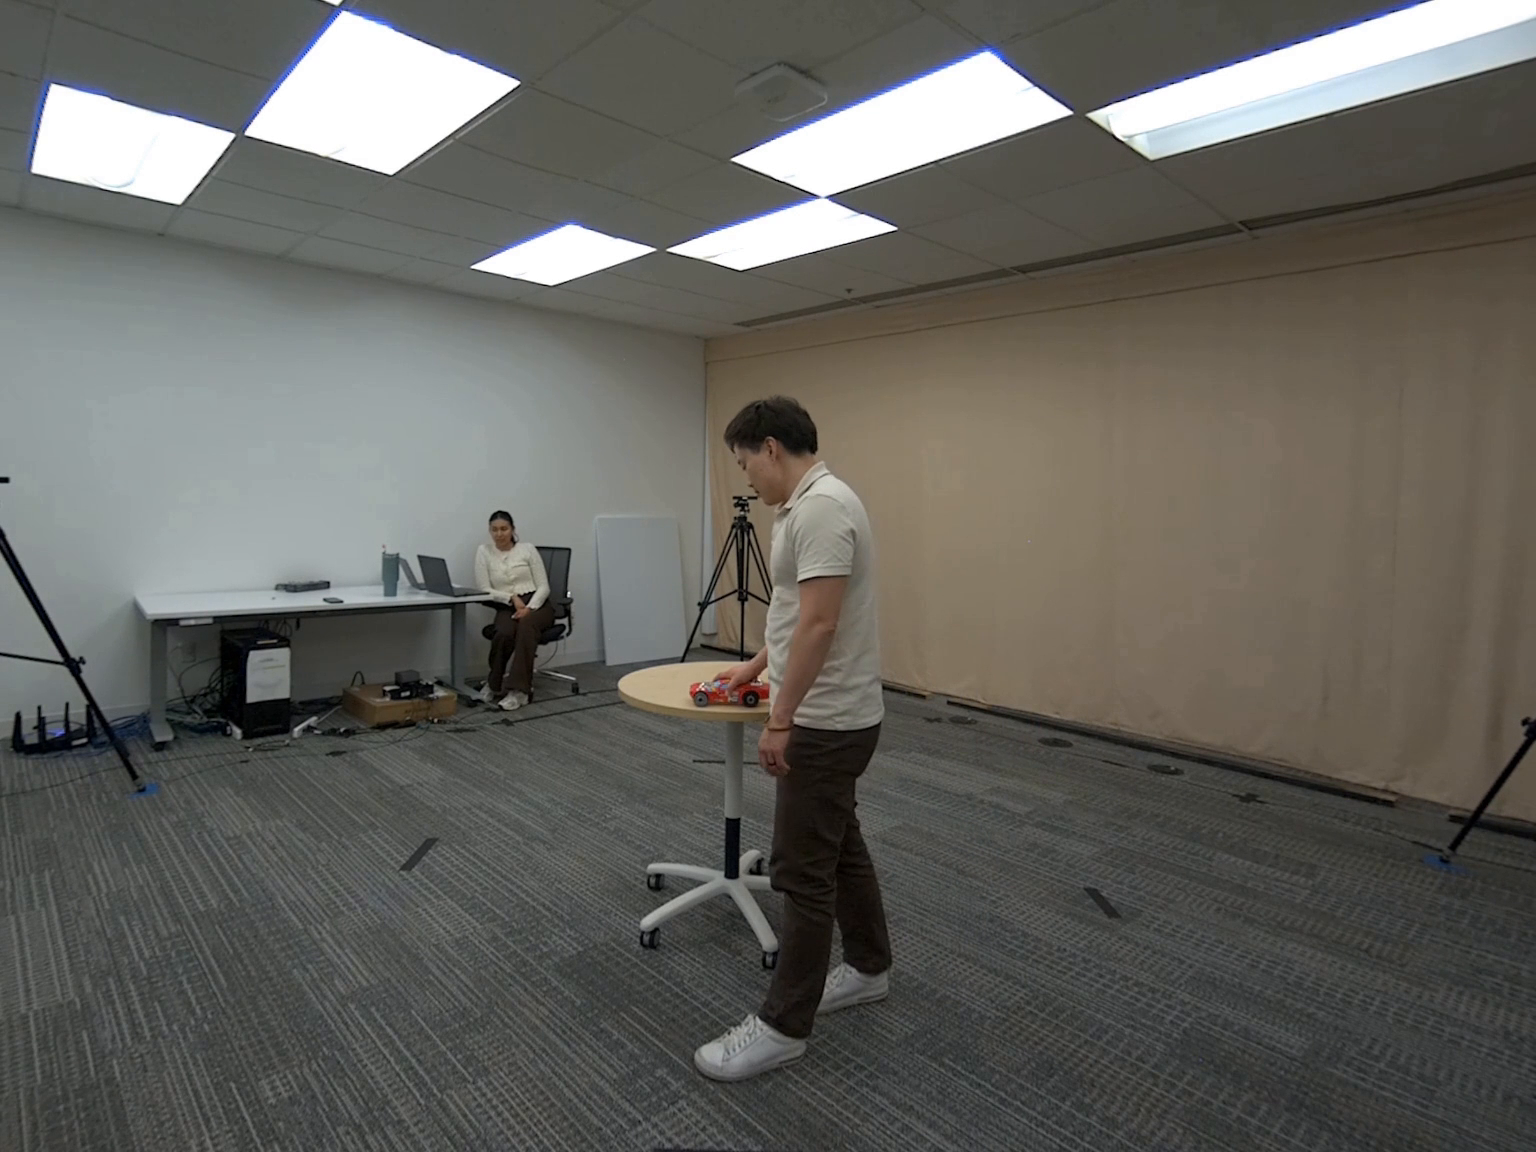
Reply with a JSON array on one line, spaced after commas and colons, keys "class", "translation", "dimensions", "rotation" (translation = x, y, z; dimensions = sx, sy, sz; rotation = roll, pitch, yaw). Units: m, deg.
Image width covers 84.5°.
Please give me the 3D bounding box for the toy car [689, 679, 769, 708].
[{"class": "toy car", "translation": [-0.105, 0.346, 2.463], "dimensions": [0.254, 0.083, 0.131], "rotation": [-8, 5, 0]}]
